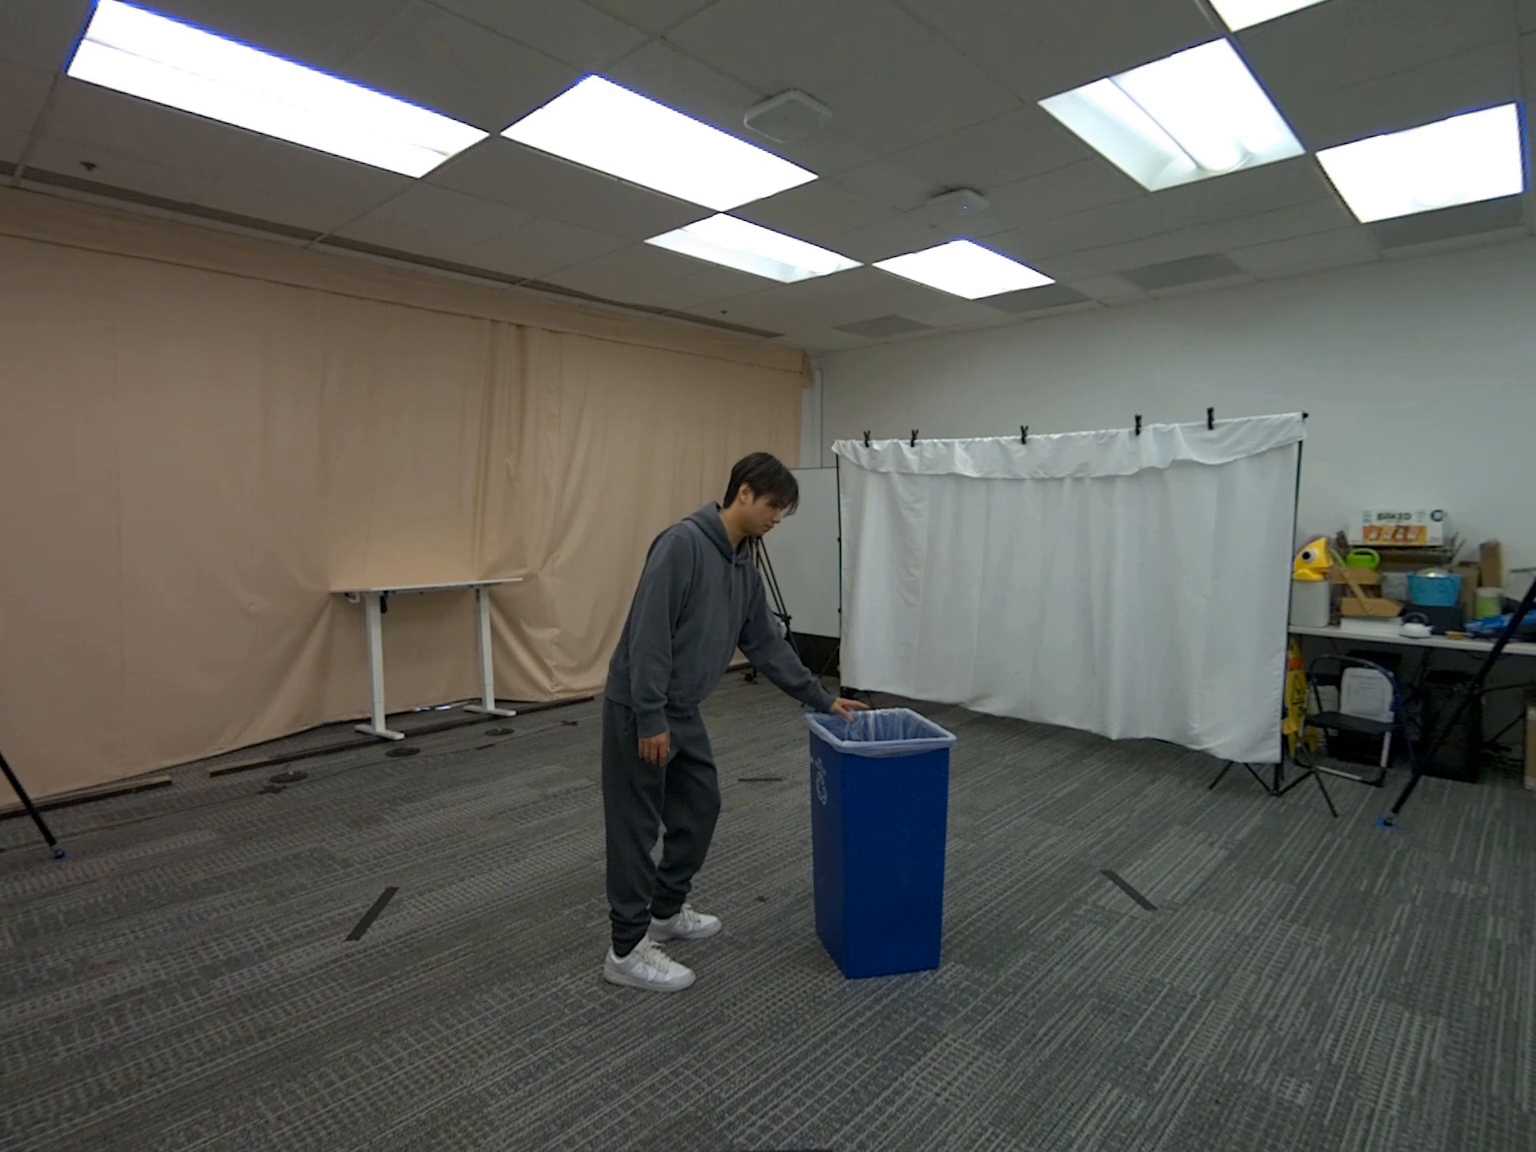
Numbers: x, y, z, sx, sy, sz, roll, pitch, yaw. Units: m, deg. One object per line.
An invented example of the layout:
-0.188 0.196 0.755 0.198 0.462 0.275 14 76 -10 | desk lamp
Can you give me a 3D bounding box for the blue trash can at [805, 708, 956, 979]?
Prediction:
0.348 0.821 2.617 0.373 0.712 0.380 0 3 -13 | blue trash can
